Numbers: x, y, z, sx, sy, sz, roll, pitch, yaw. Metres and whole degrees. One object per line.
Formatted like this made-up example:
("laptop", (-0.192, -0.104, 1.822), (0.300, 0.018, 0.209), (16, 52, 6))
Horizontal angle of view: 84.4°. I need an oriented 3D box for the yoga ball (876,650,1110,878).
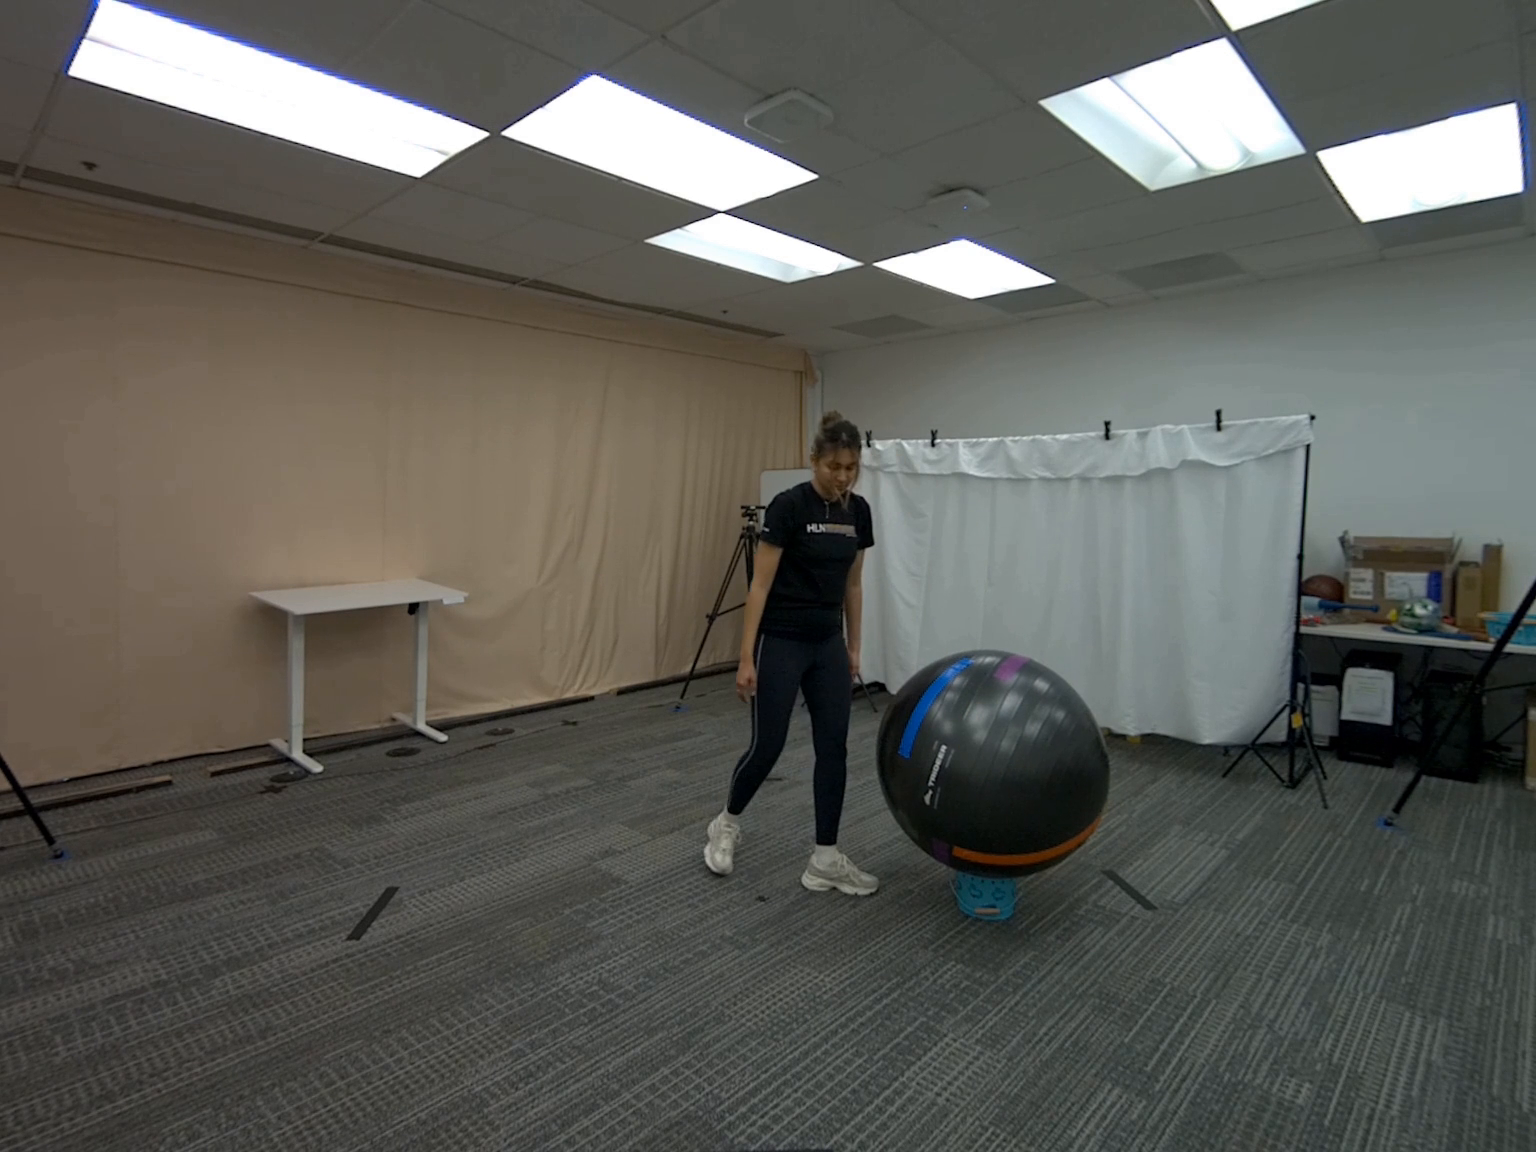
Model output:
("yoga ball", (0.768, 0.641, 2.898), (0.757, 0.756, 0.761), (0, 4, -2))
